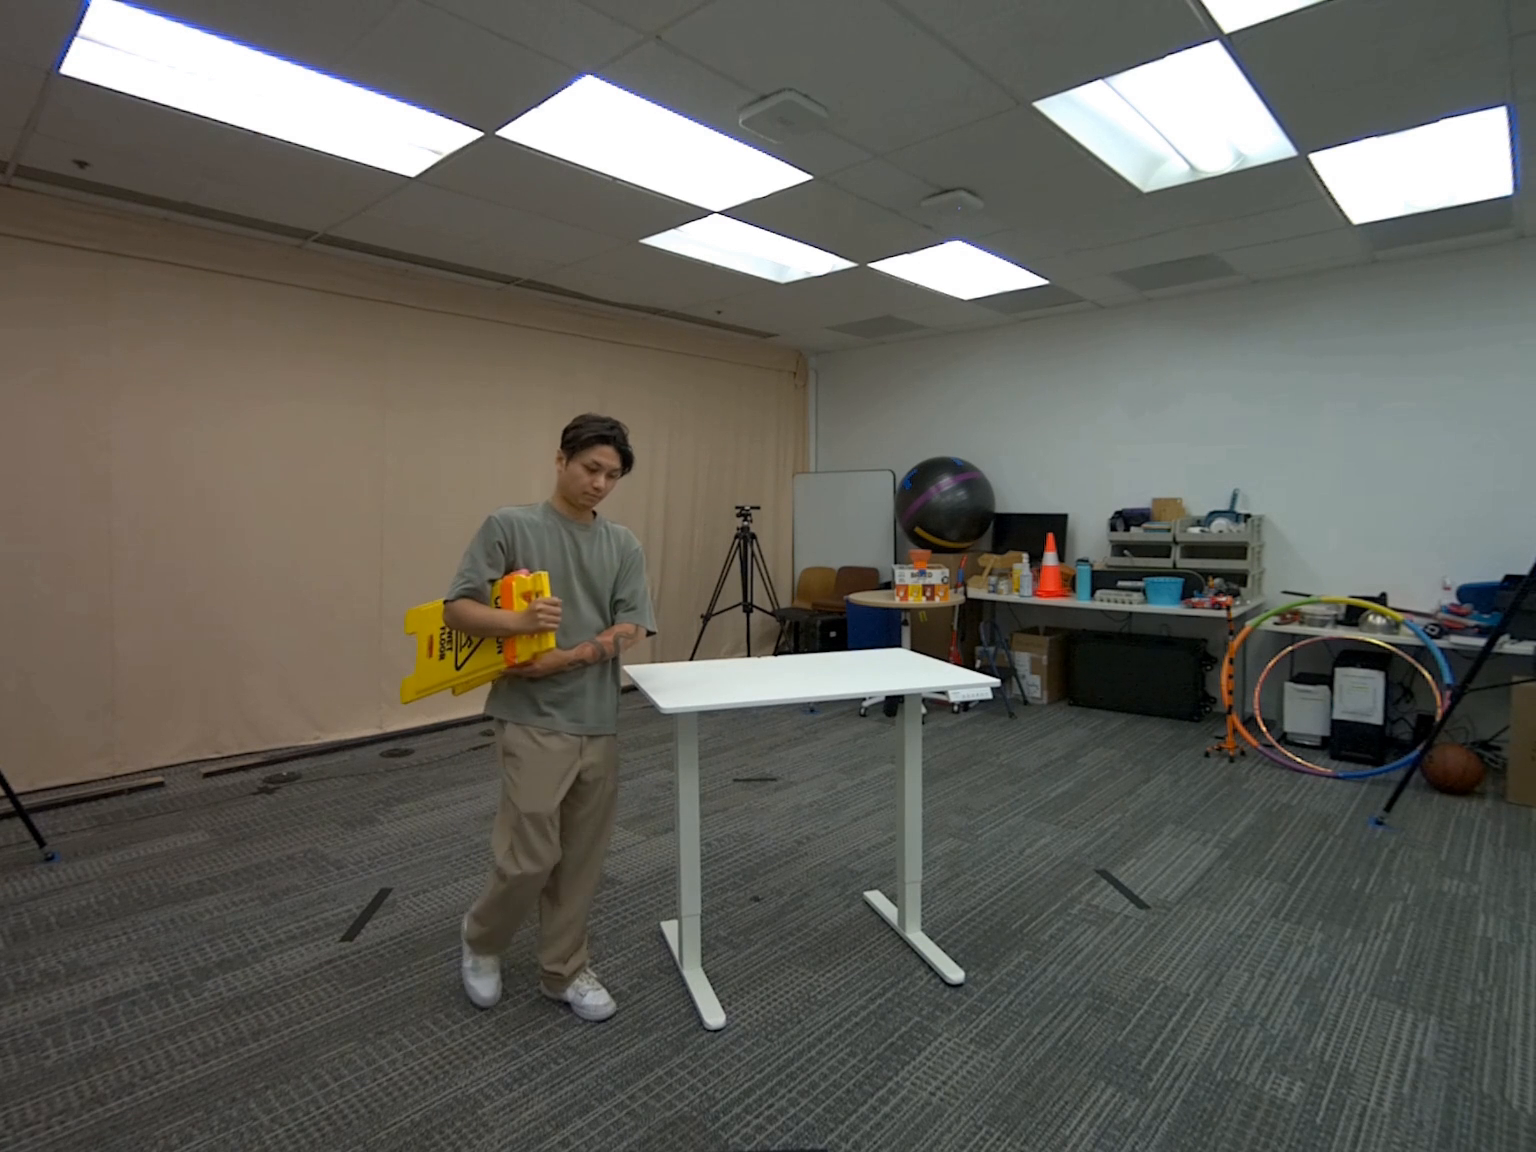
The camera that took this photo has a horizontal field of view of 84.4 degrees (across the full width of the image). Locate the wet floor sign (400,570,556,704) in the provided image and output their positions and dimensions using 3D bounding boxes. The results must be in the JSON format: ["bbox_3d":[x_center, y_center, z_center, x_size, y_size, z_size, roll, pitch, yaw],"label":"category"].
[{"bbox_3d":[-0.776,0.170,2.293,0.662,0.284,0.280,-17,-13,40],"label":"wet floor sign"}]
